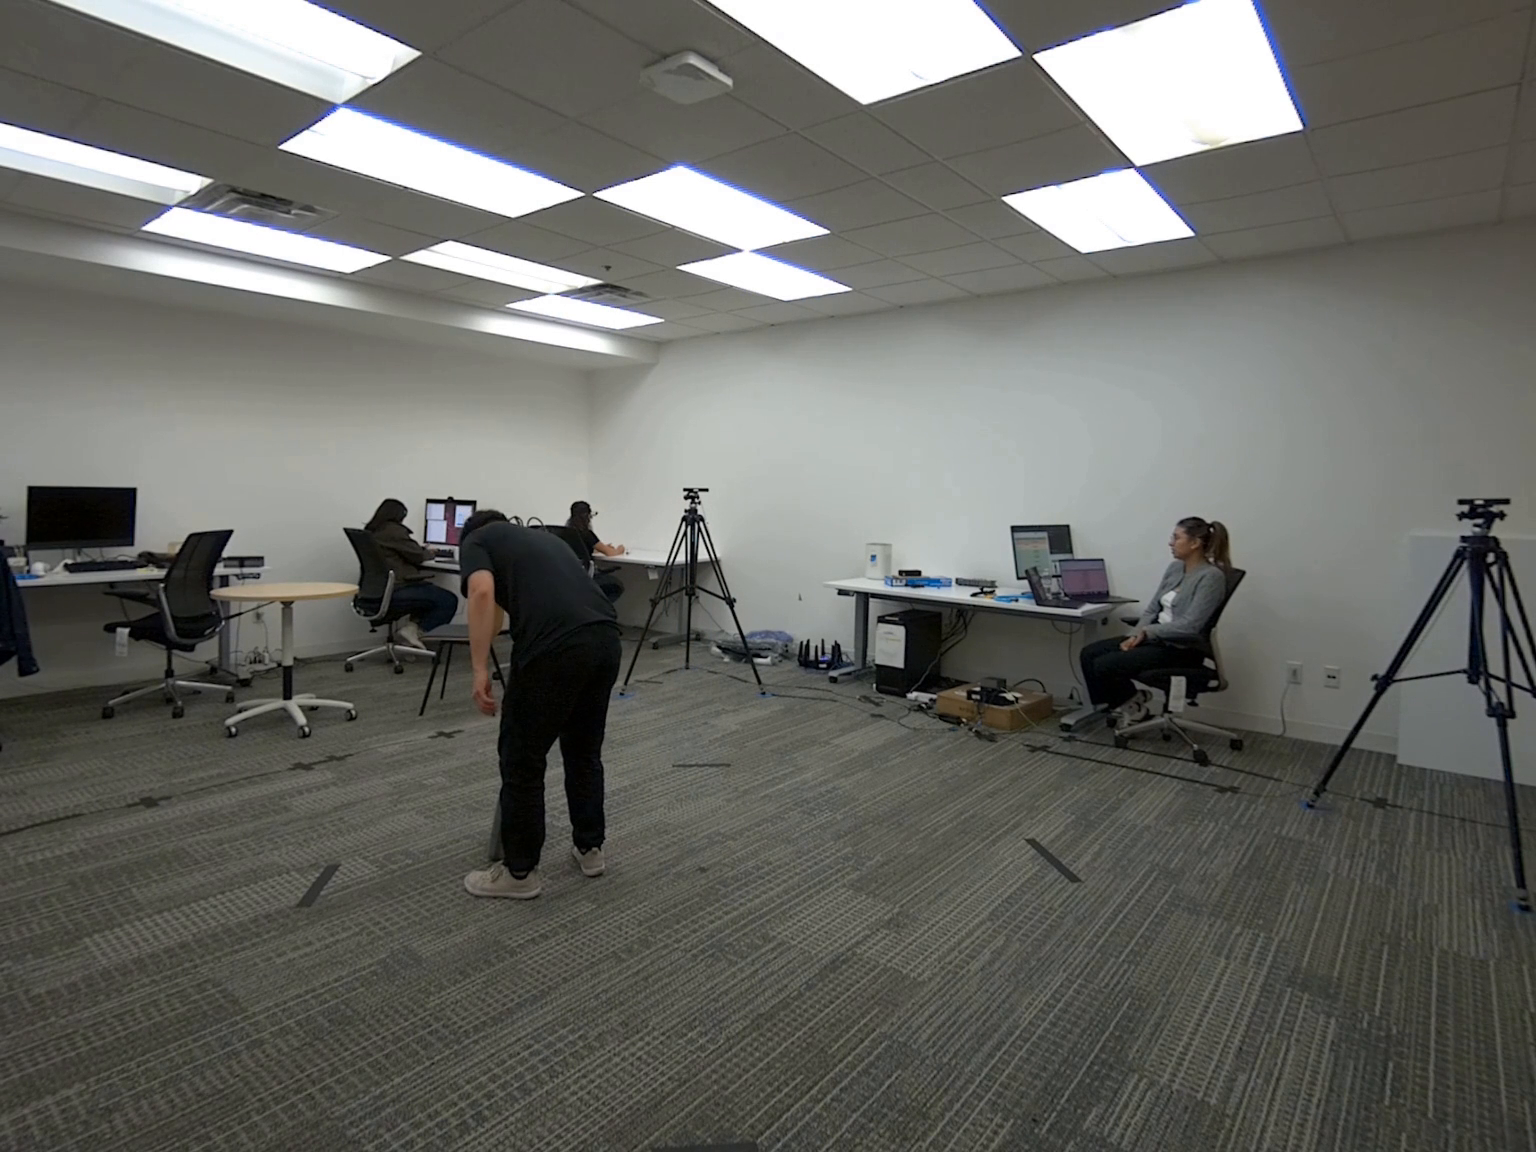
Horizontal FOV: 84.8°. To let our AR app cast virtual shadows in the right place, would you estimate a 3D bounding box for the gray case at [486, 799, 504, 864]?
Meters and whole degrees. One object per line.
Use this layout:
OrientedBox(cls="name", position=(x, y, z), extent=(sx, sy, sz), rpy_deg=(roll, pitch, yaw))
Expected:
OrientedBox(cls="gray case", position=(-0.997, 0.910, 3.246), extent=(0.103, 0.260, 0.259), rpy_deg=(9, 1, -9))
